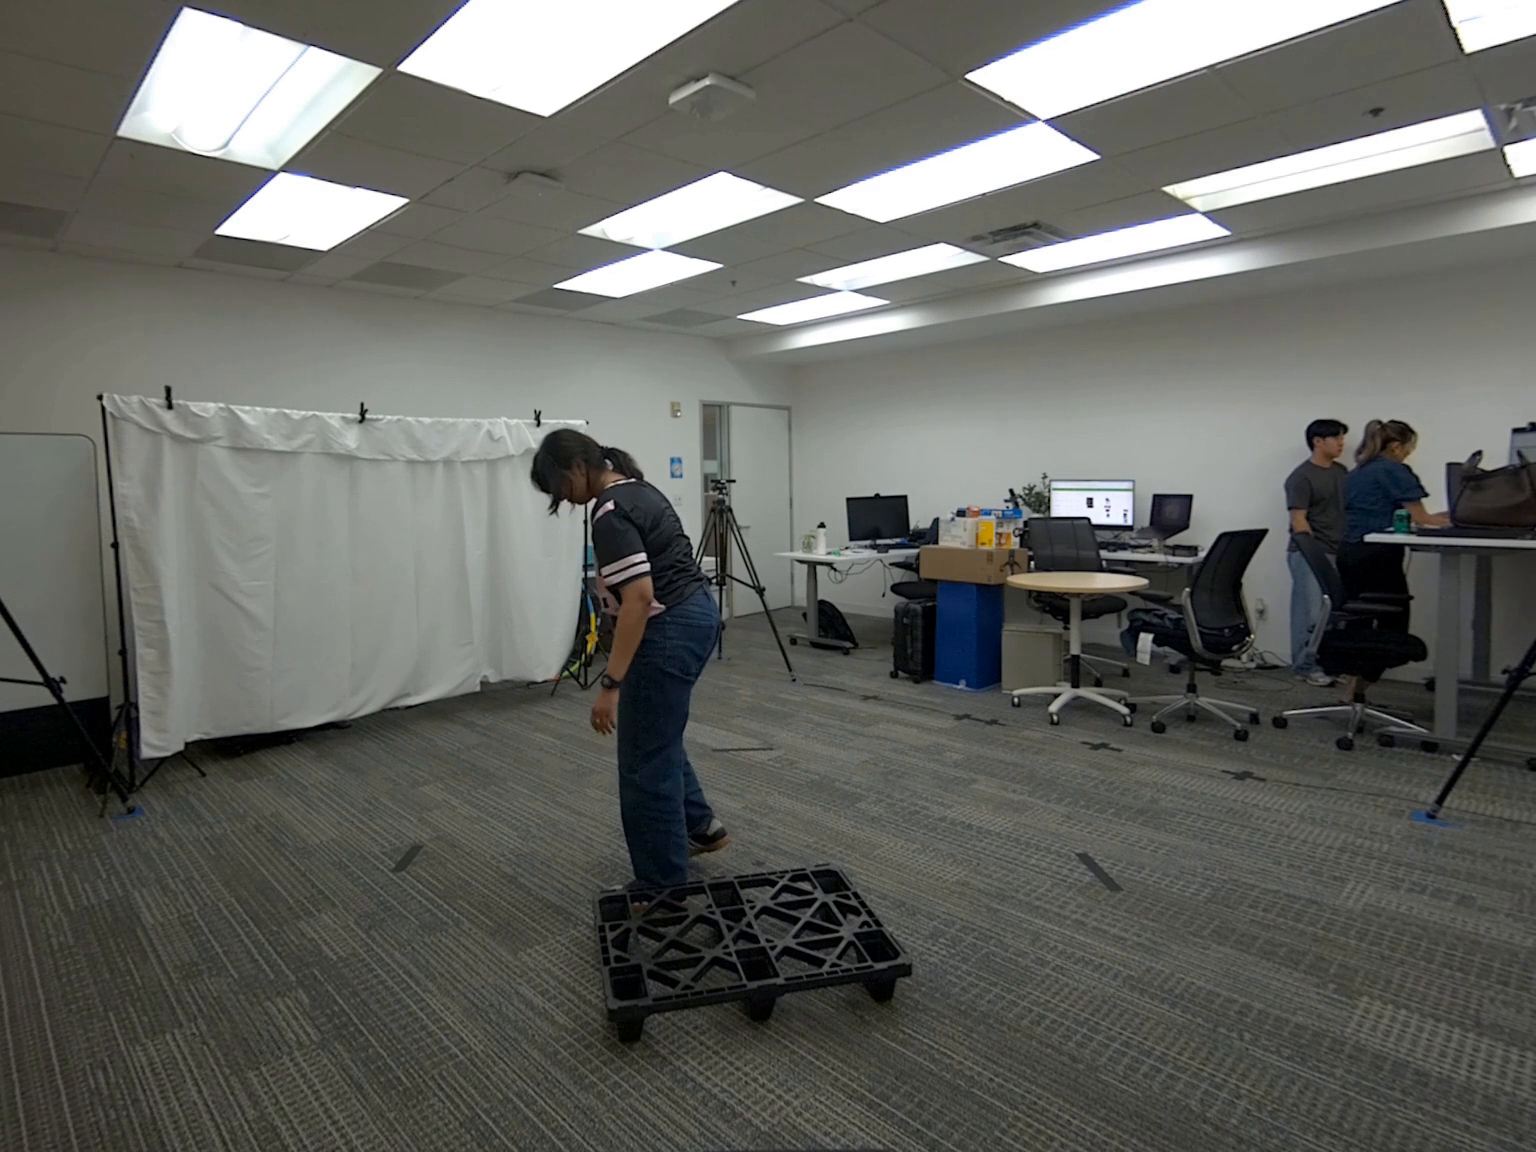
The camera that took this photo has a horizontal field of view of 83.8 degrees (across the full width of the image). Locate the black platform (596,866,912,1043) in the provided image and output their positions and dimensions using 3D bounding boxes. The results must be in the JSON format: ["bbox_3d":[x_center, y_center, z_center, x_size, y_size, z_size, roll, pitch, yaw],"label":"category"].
[{"bbox_3d":[-0.079,1.061,2.434,0.796,0.143,0.615,-3,6,-13],"label":"black platform"}]
